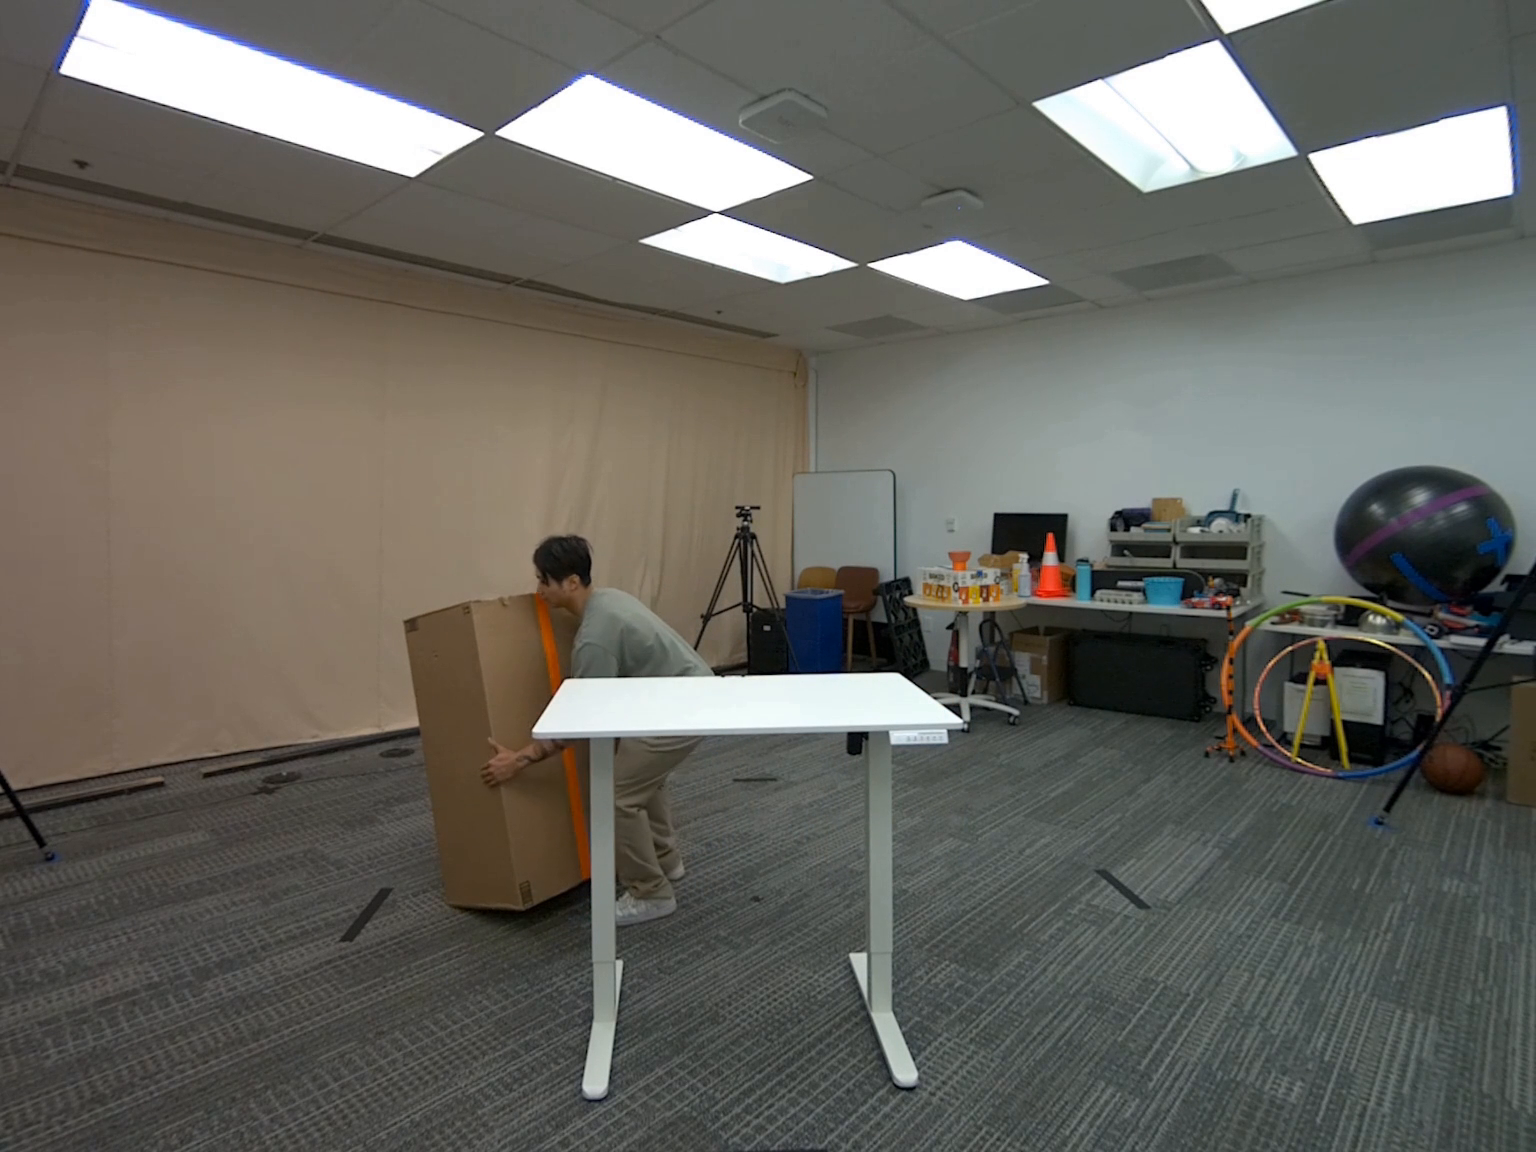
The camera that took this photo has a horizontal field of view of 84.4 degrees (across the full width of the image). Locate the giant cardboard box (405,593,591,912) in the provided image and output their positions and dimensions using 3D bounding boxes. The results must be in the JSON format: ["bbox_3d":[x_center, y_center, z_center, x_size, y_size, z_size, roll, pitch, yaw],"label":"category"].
[{"bbox_3d":[-0.907,0.603,3.106,0.437,1.031,0.561,-16,-7,35],"label":"giant cardboard box"}]
